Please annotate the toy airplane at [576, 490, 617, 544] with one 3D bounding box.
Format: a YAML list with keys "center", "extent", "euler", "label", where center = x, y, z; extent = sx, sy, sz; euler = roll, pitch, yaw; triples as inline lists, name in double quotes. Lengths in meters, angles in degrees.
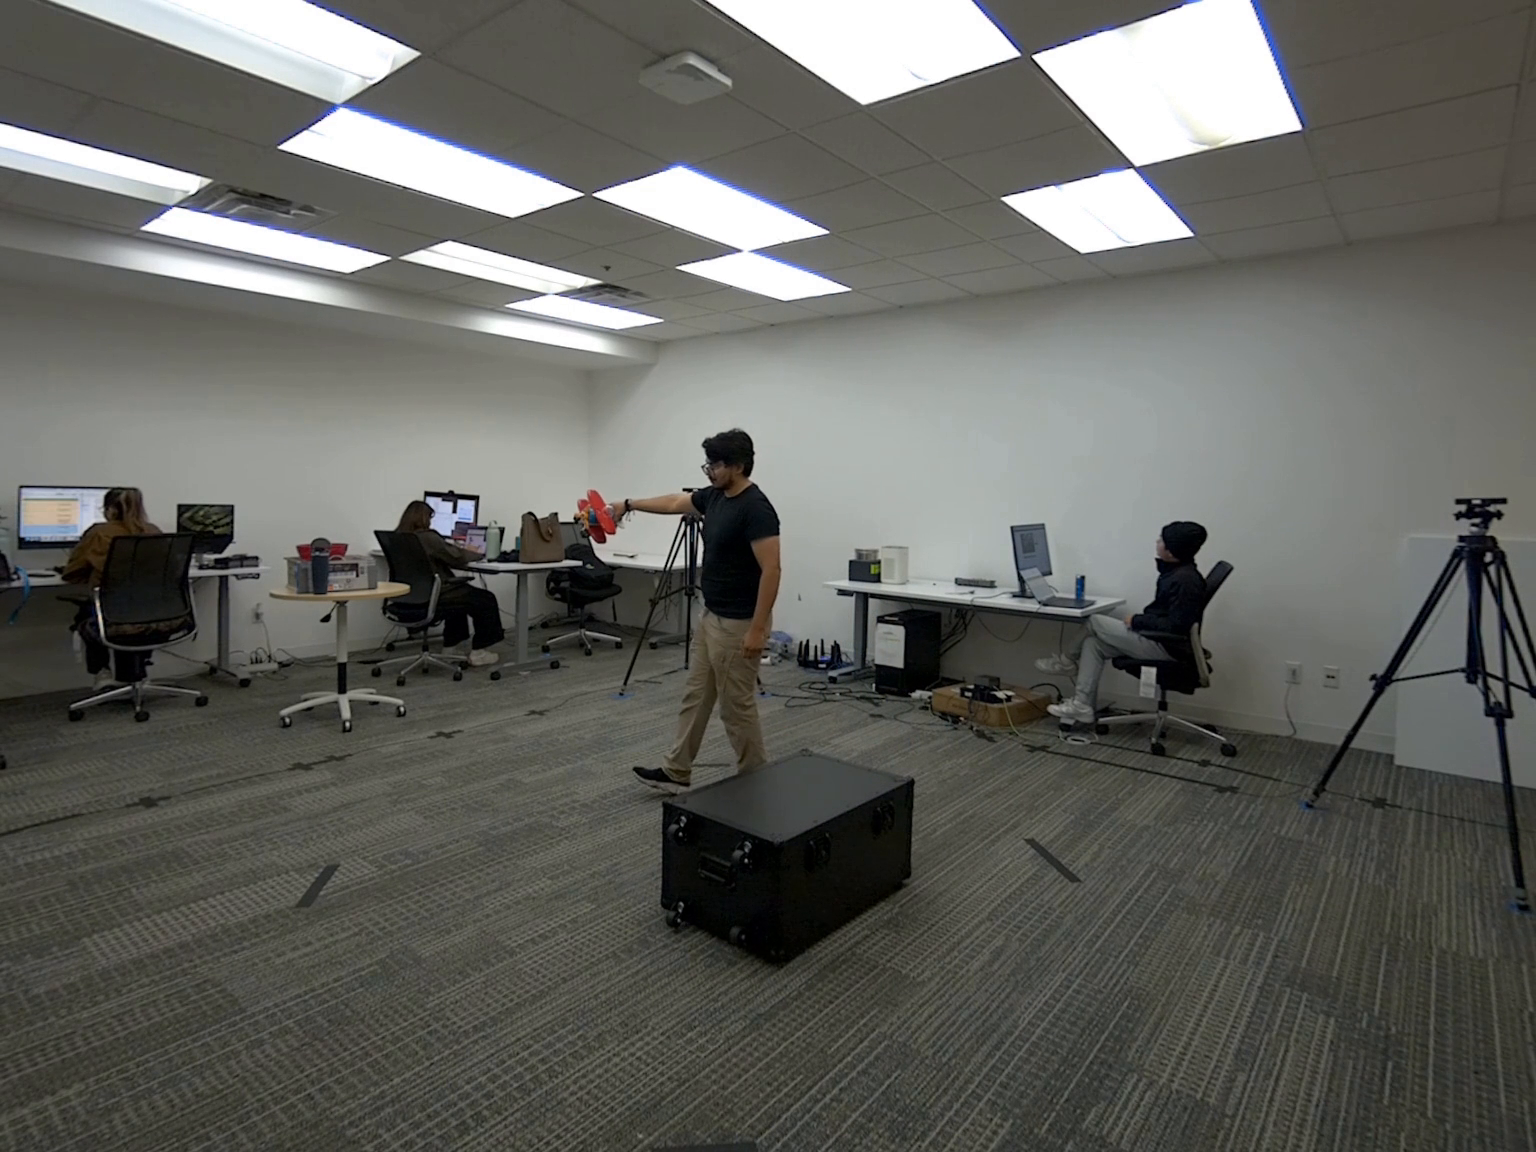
- center: [-0.825, -0.300, 4.093]
  extent: [0.157, 0.251, 0.259]
  euler: [-45, 3, 44]
  label: "toy airplane"
